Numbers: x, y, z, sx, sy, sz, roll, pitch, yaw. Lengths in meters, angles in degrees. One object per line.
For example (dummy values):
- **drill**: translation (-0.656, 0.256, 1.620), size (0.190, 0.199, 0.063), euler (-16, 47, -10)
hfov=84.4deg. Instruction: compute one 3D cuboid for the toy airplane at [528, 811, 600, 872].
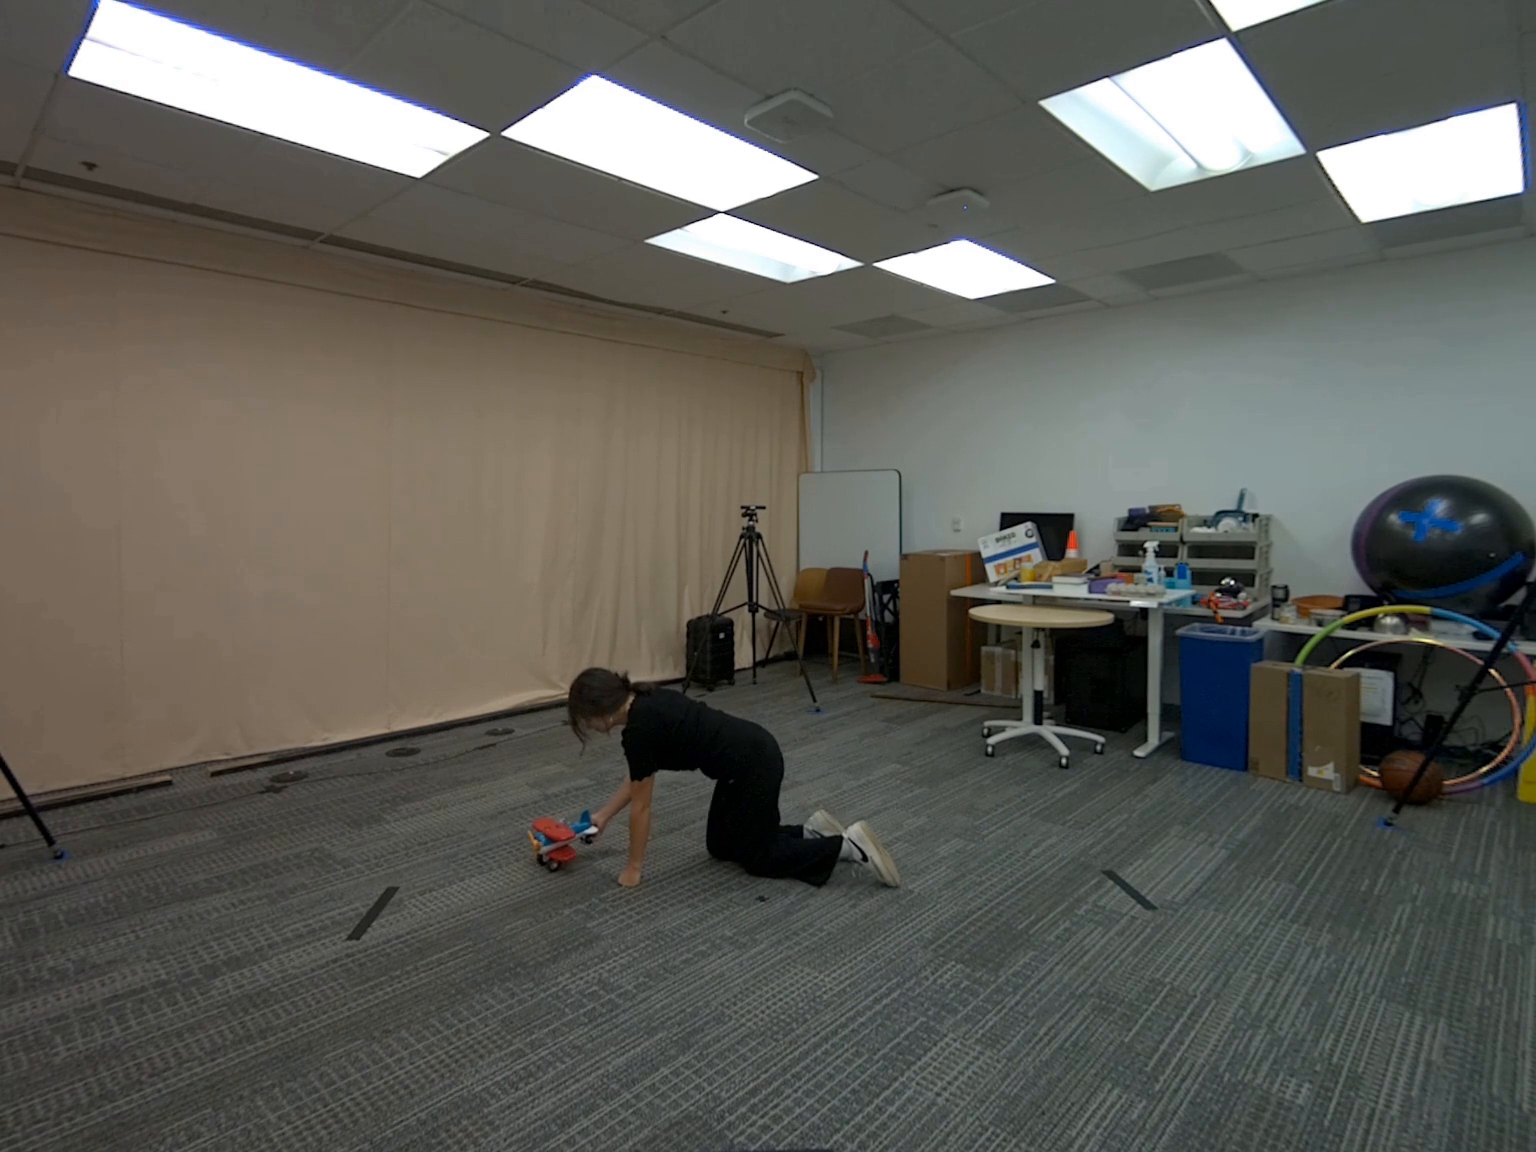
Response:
- **toy airplane**: translation (-0.821, 1.033, 3.308), size (0.256, 0.154, 0.257), euler (-8, 18, 23)
